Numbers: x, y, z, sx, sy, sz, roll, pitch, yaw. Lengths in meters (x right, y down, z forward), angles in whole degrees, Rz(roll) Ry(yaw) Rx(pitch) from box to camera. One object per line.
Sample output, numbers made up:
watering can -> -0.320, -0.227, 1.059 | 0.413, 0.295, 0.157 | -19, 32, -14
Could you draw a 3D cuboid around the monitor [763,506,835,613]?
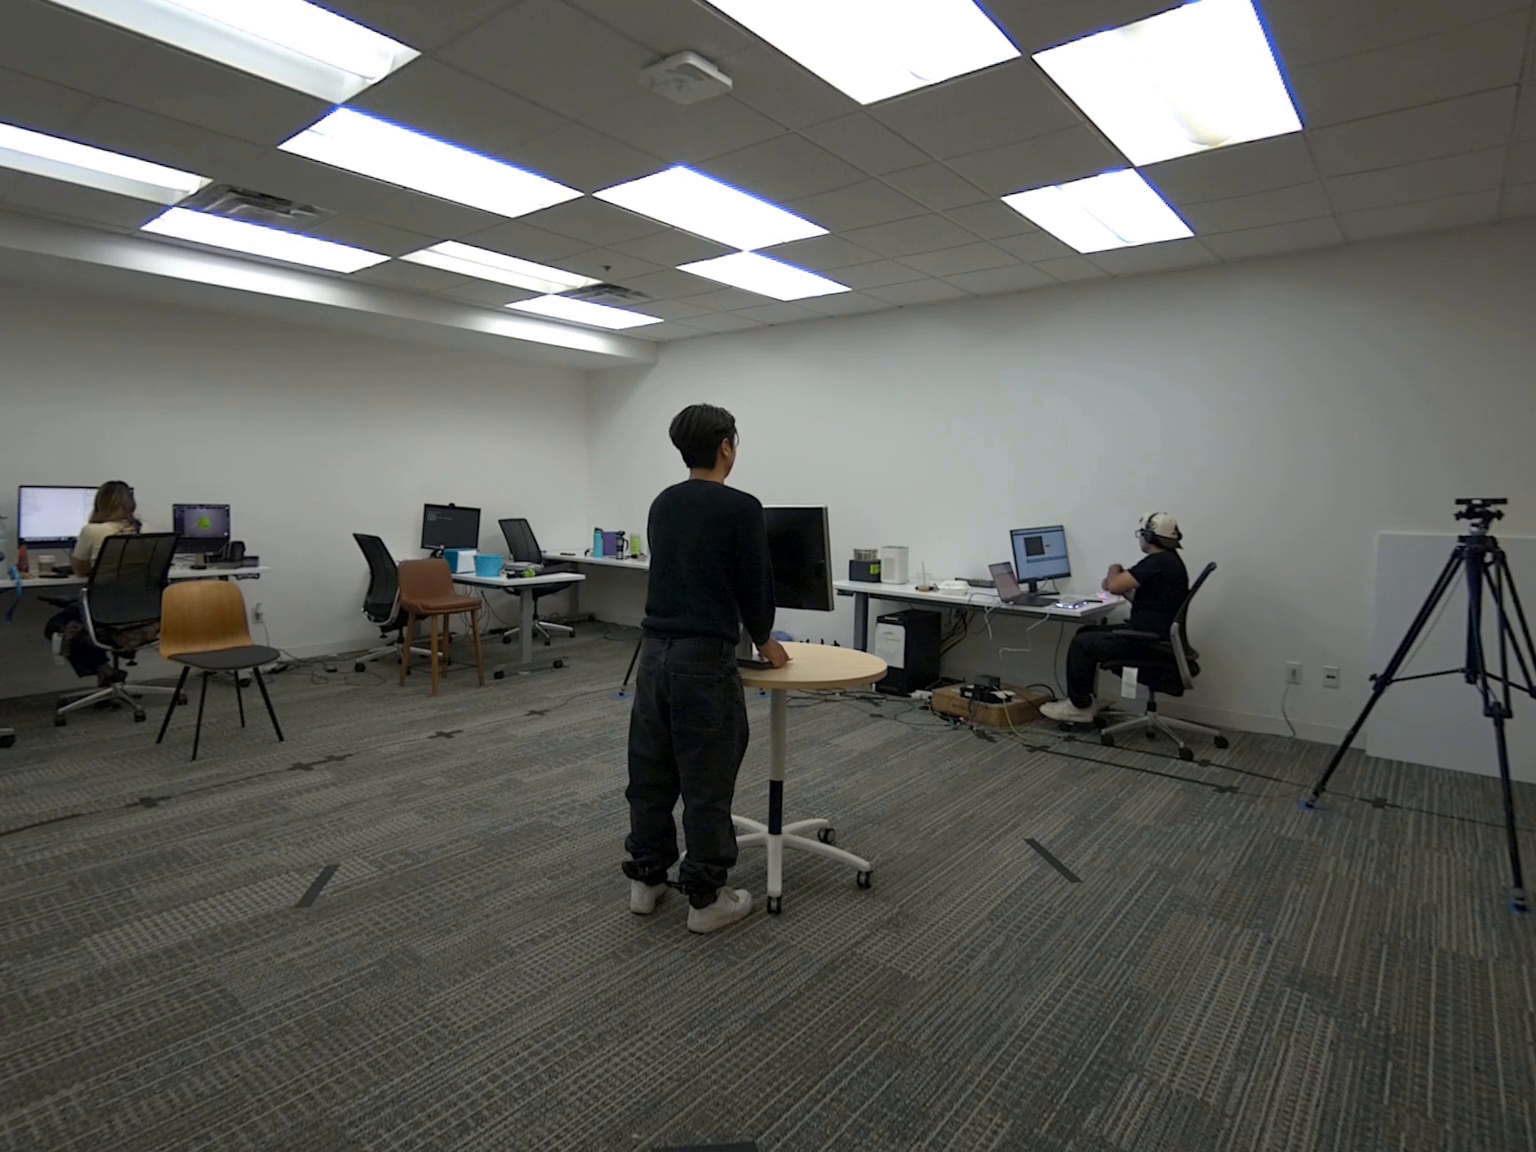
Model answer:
monitor -> -0.057, 0.020, 3.000 | 0.556, 0.523, 0.181 | 3, -1, 34
